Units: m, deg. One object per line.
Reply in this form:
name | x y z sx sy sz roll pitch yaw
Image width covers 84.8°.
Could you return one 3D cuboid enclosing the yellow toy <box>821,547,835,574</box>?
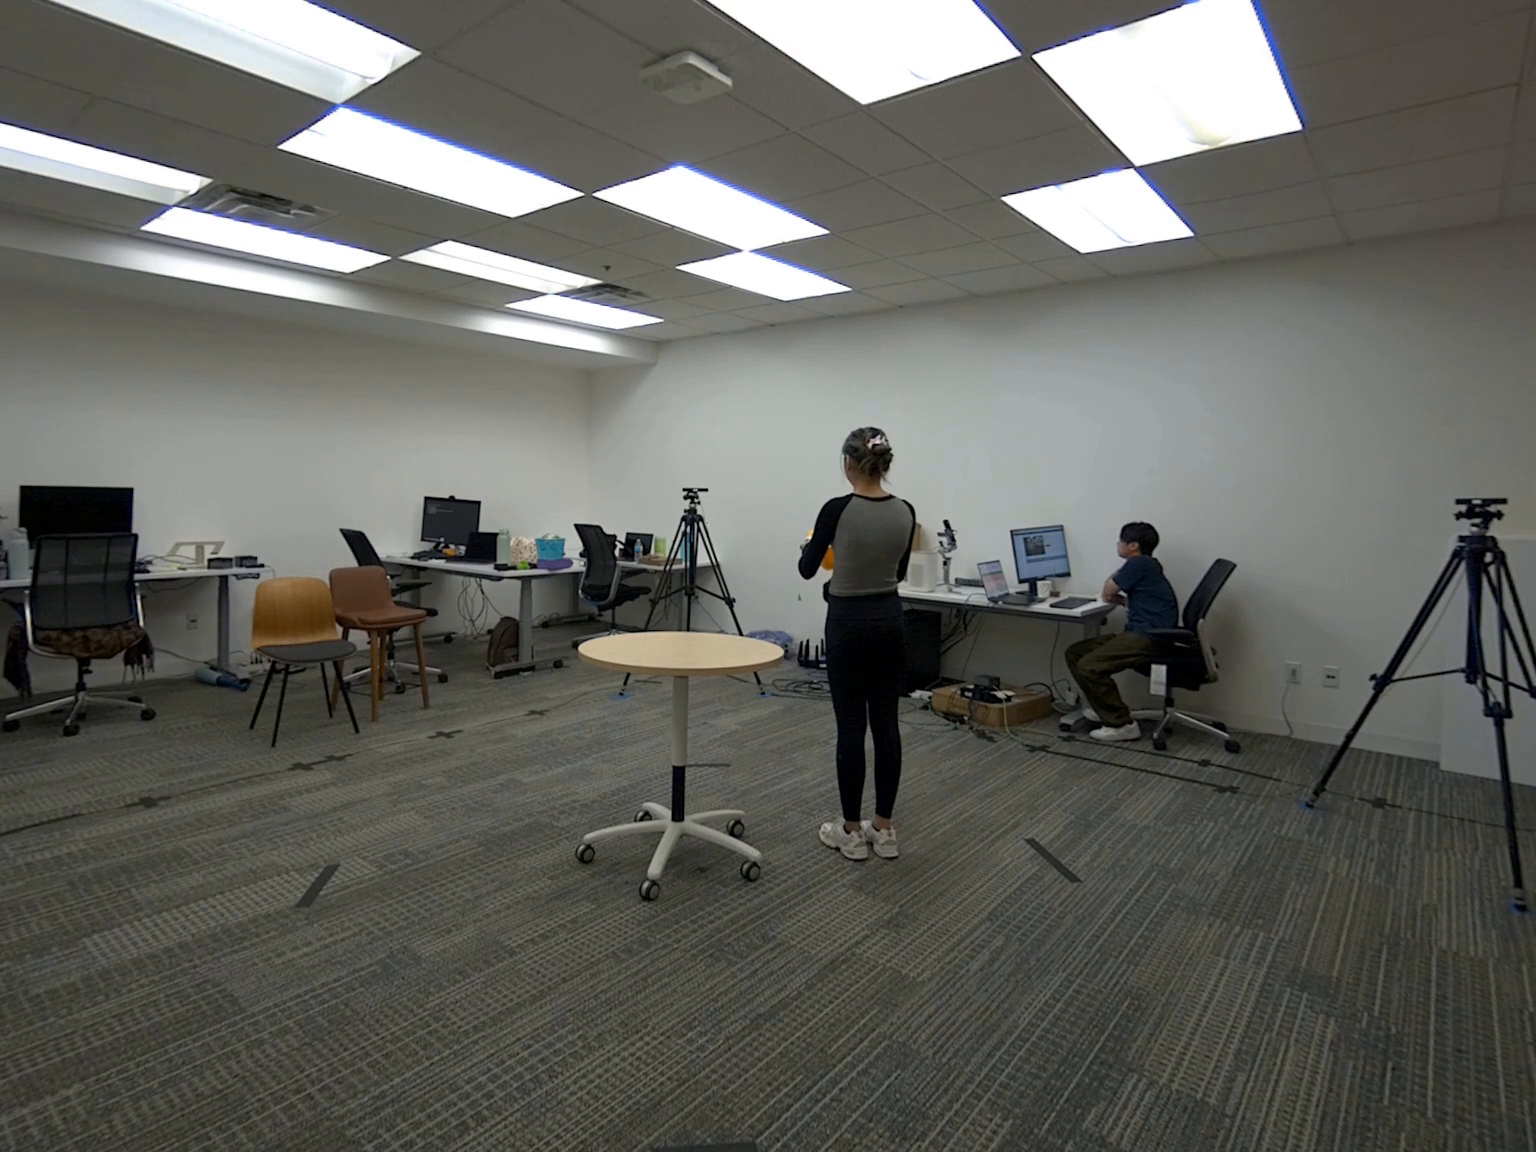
yellow toy | 0.248 -0.160 3.697 0.204 0.186 0.241 -36 45 -17
